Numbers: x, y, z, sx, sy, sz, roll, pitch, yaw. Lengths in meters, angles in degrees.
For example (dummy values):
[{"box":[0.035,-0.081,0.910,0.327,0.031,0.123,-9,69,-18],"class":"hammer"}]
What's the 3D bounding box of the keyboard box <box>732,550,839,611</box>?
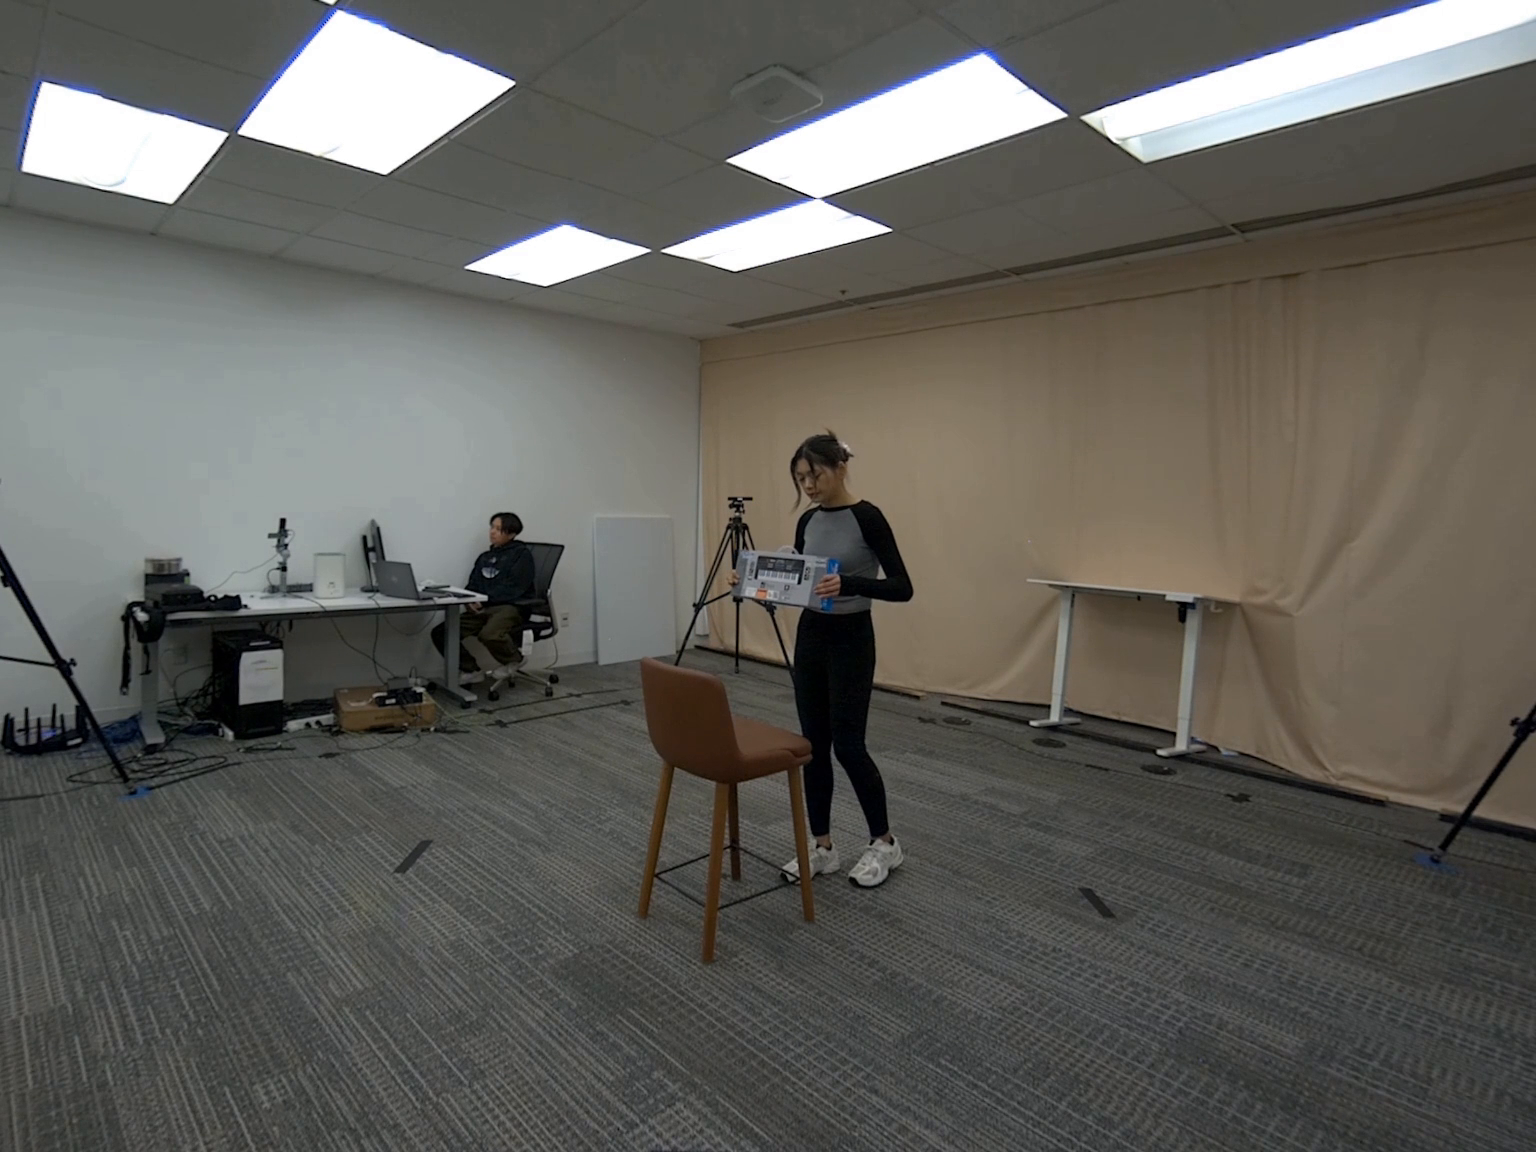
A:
[{"box":[0.050,0.012,2.934,0.057,0.176,0.448,16,-6,-44],"class":"keyboard box"}]
